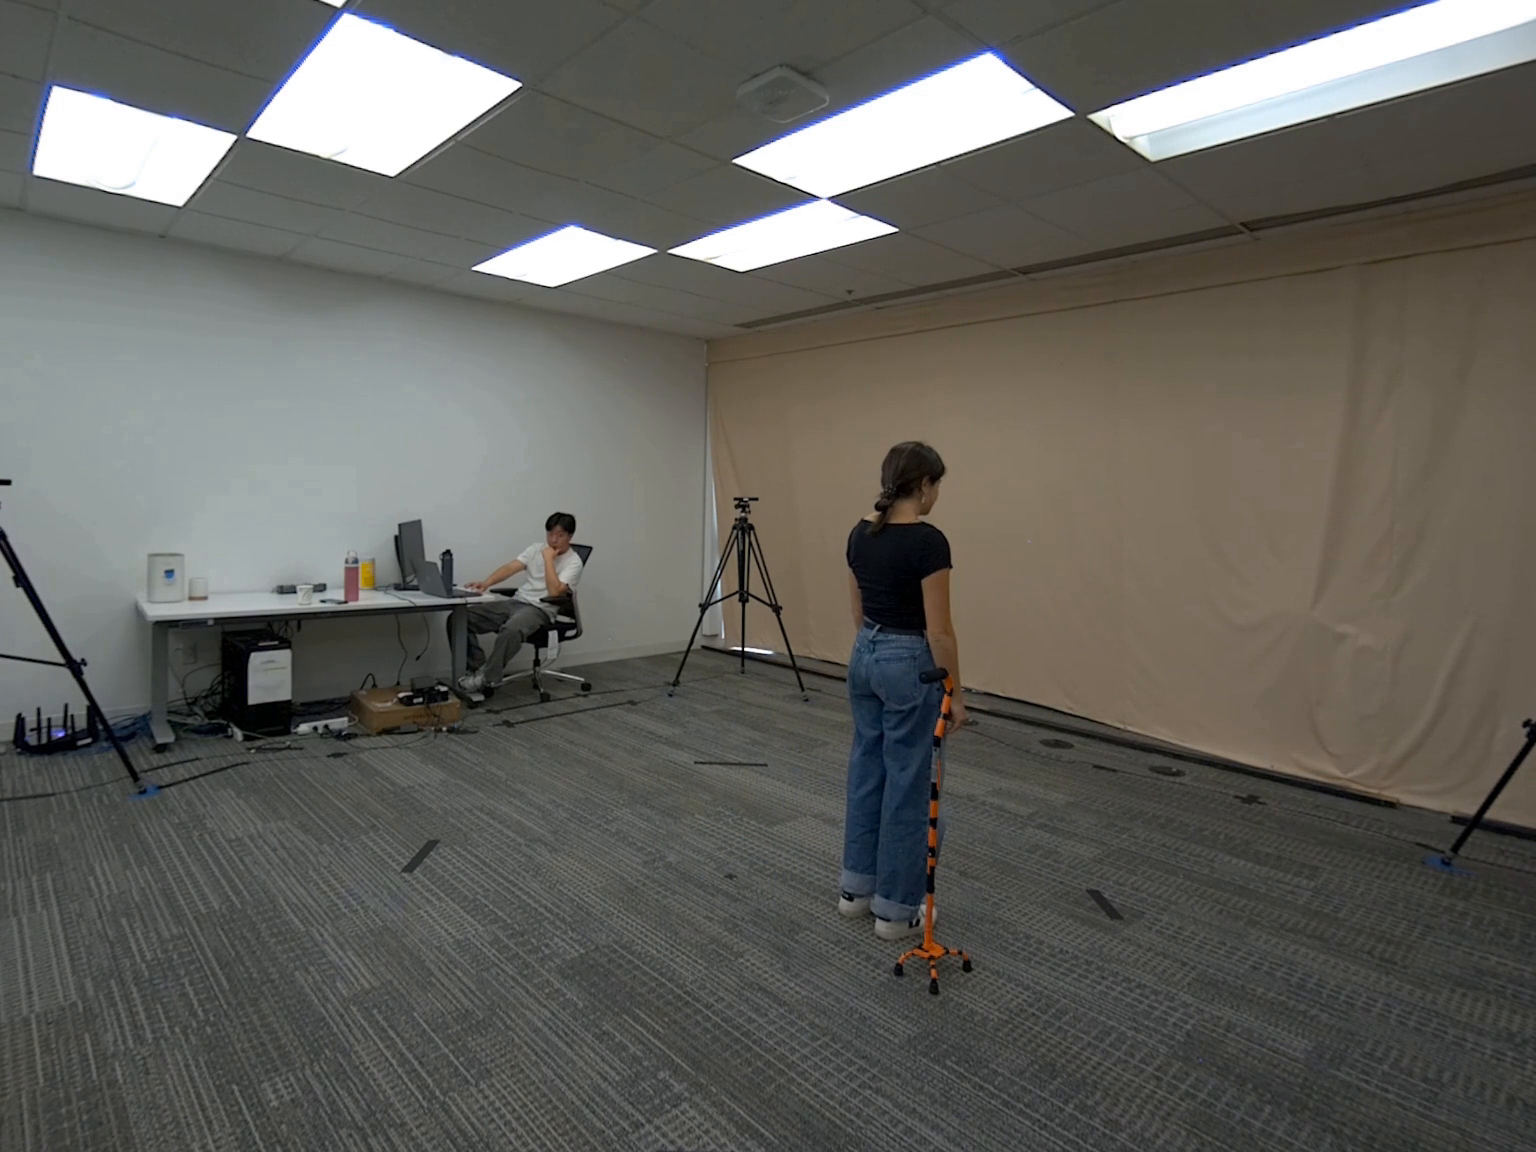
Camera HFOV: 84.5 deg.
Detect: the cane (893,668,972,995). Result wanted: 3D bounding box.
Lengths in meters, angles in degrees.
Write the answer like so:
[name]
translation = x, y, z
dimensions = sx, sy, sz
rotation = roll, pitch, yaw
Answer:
[cane]
translation = 0.491, 0.734, 2.469
dimensions = 0.155, 0.906, 0.202
rotation = 4, 4, 44
